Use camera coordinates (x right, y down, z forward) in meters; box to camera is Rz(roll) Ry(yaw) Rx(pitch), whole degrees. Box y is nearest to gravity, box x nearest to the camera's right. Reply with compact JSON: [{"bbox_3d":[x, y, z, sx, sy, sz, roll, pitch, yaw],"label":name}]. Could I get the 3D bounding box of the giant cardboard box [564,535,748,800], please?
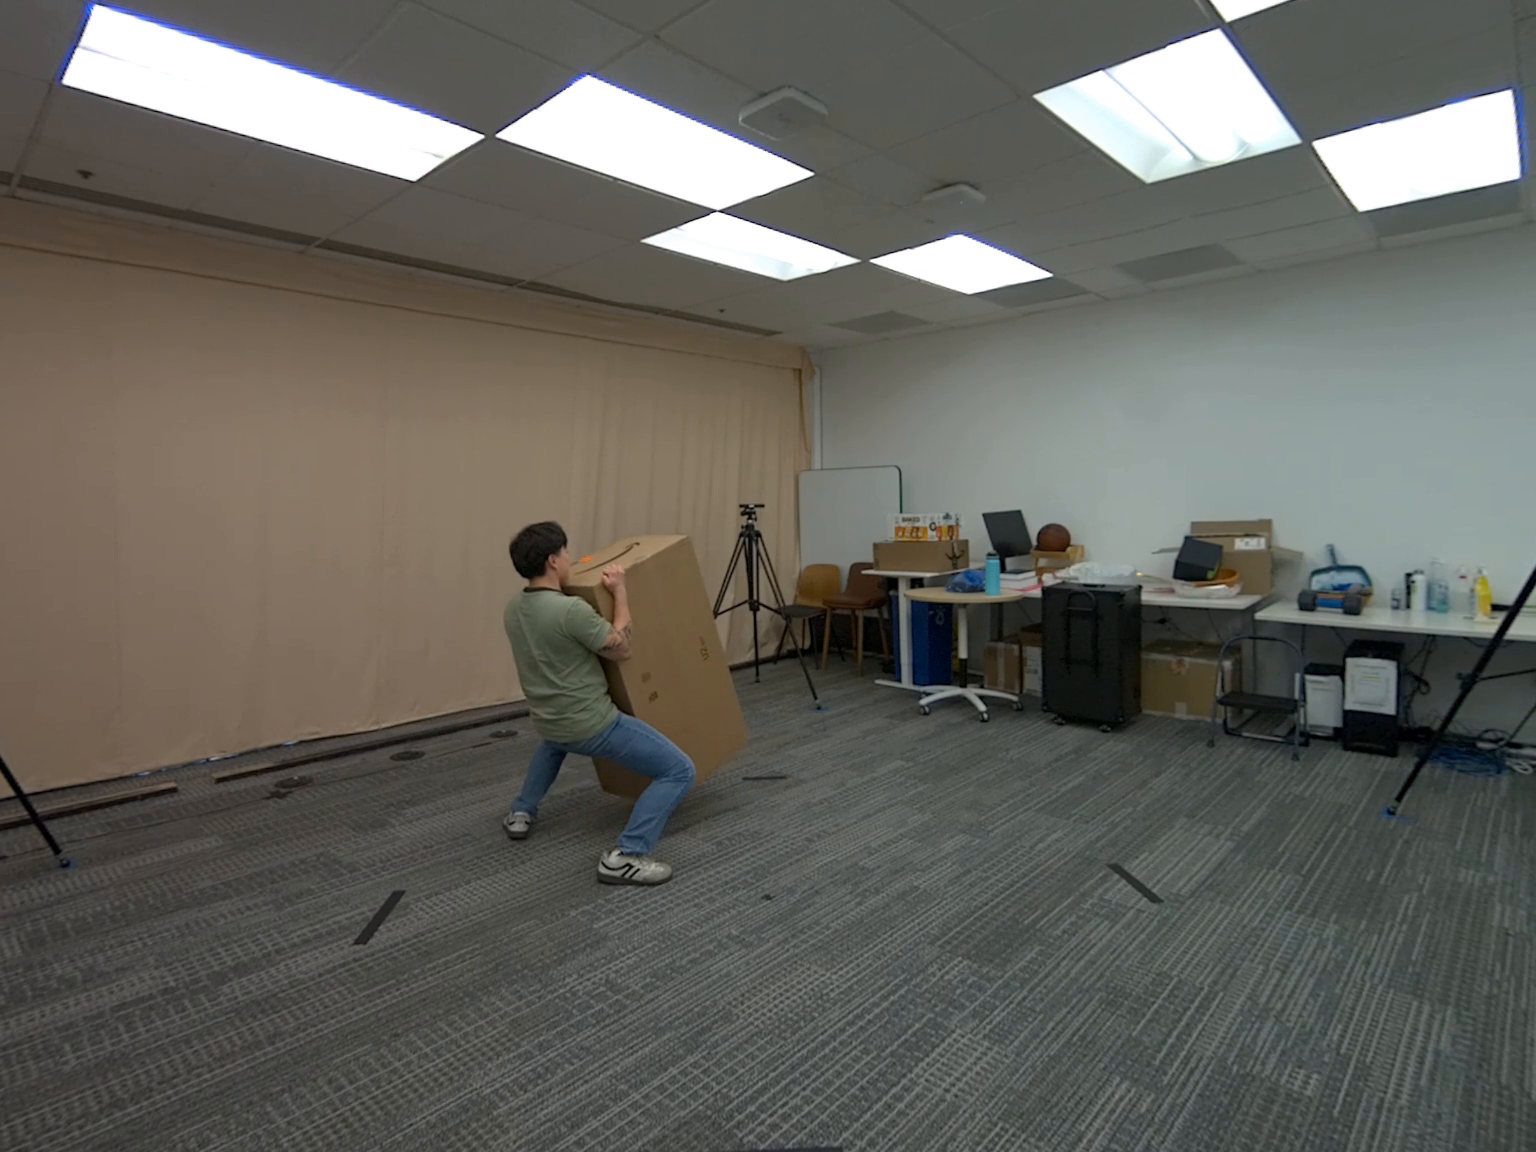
[{"bbox_3d":[-0.537,0.396,3.722,0.440,1.012,0.567,0,21,42],"label":"giant cardboard box"}]
